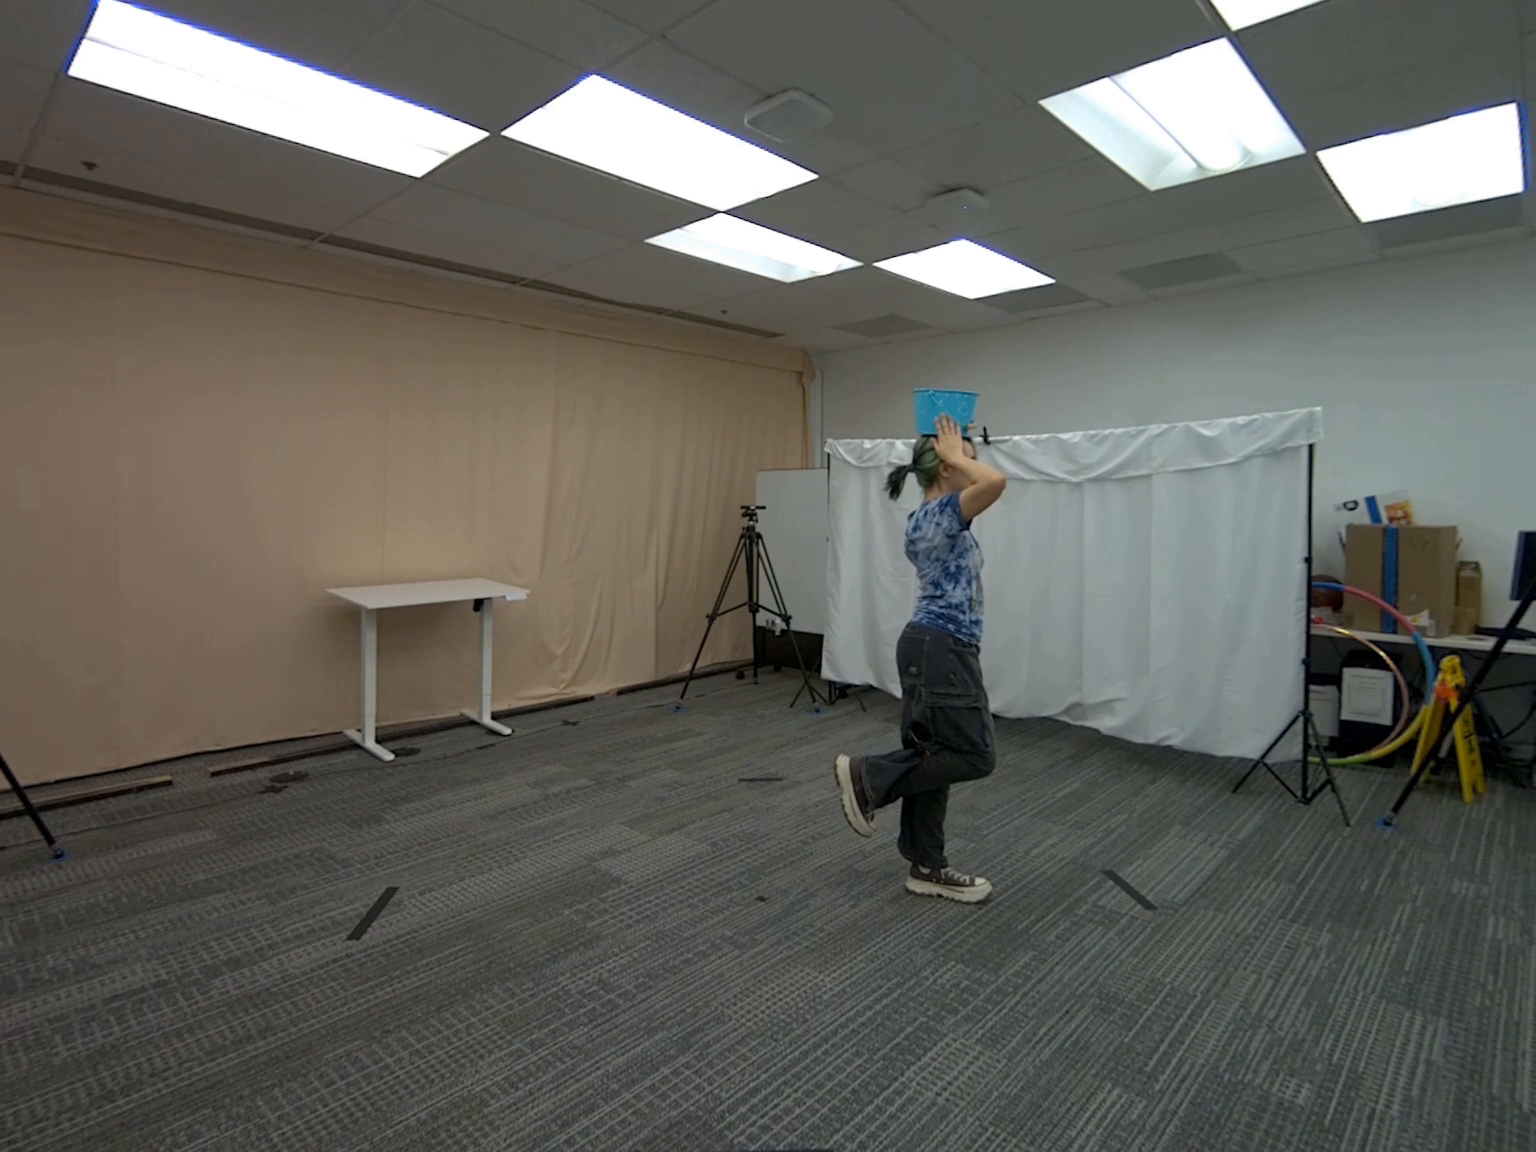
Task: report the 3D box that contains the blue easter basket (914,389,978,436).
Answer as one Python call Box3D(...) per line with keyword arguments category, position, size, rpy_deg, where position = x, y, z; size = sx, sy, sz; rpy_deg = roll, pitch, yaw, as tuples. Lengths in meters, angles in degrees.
Box3D(category="blue easter basket", position=(0.638, -0.576, 2.999), size=(0.243, 0.155, 0.245), rpy_deg=(6, 9, -3))
